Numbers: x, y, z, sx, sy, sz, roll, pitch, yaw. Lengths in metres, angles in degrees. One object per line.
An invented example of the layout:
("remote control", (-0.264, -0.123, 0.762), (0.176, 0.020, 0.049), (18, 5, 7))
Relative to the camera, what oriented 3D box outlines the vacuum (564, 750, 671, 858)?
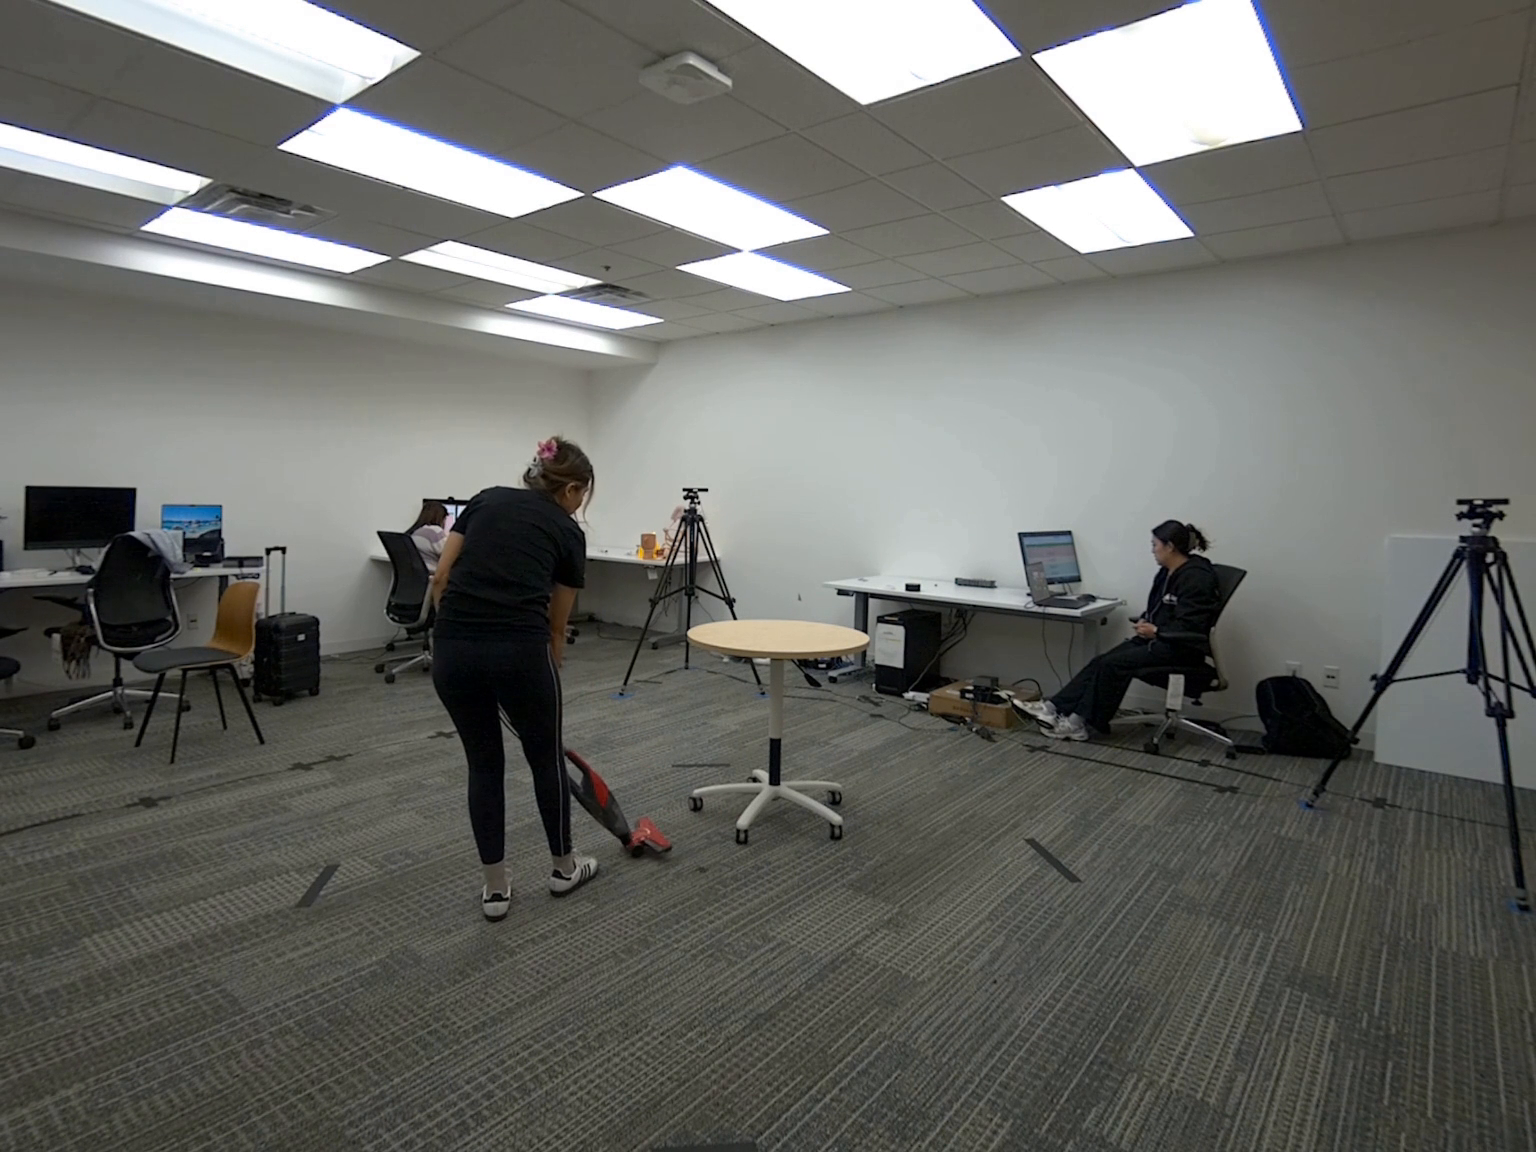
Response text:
("vacuum", (-0.759, 0.658, 3.056), (0.144, 1.017, 0.260), (-46, 25, -16))
